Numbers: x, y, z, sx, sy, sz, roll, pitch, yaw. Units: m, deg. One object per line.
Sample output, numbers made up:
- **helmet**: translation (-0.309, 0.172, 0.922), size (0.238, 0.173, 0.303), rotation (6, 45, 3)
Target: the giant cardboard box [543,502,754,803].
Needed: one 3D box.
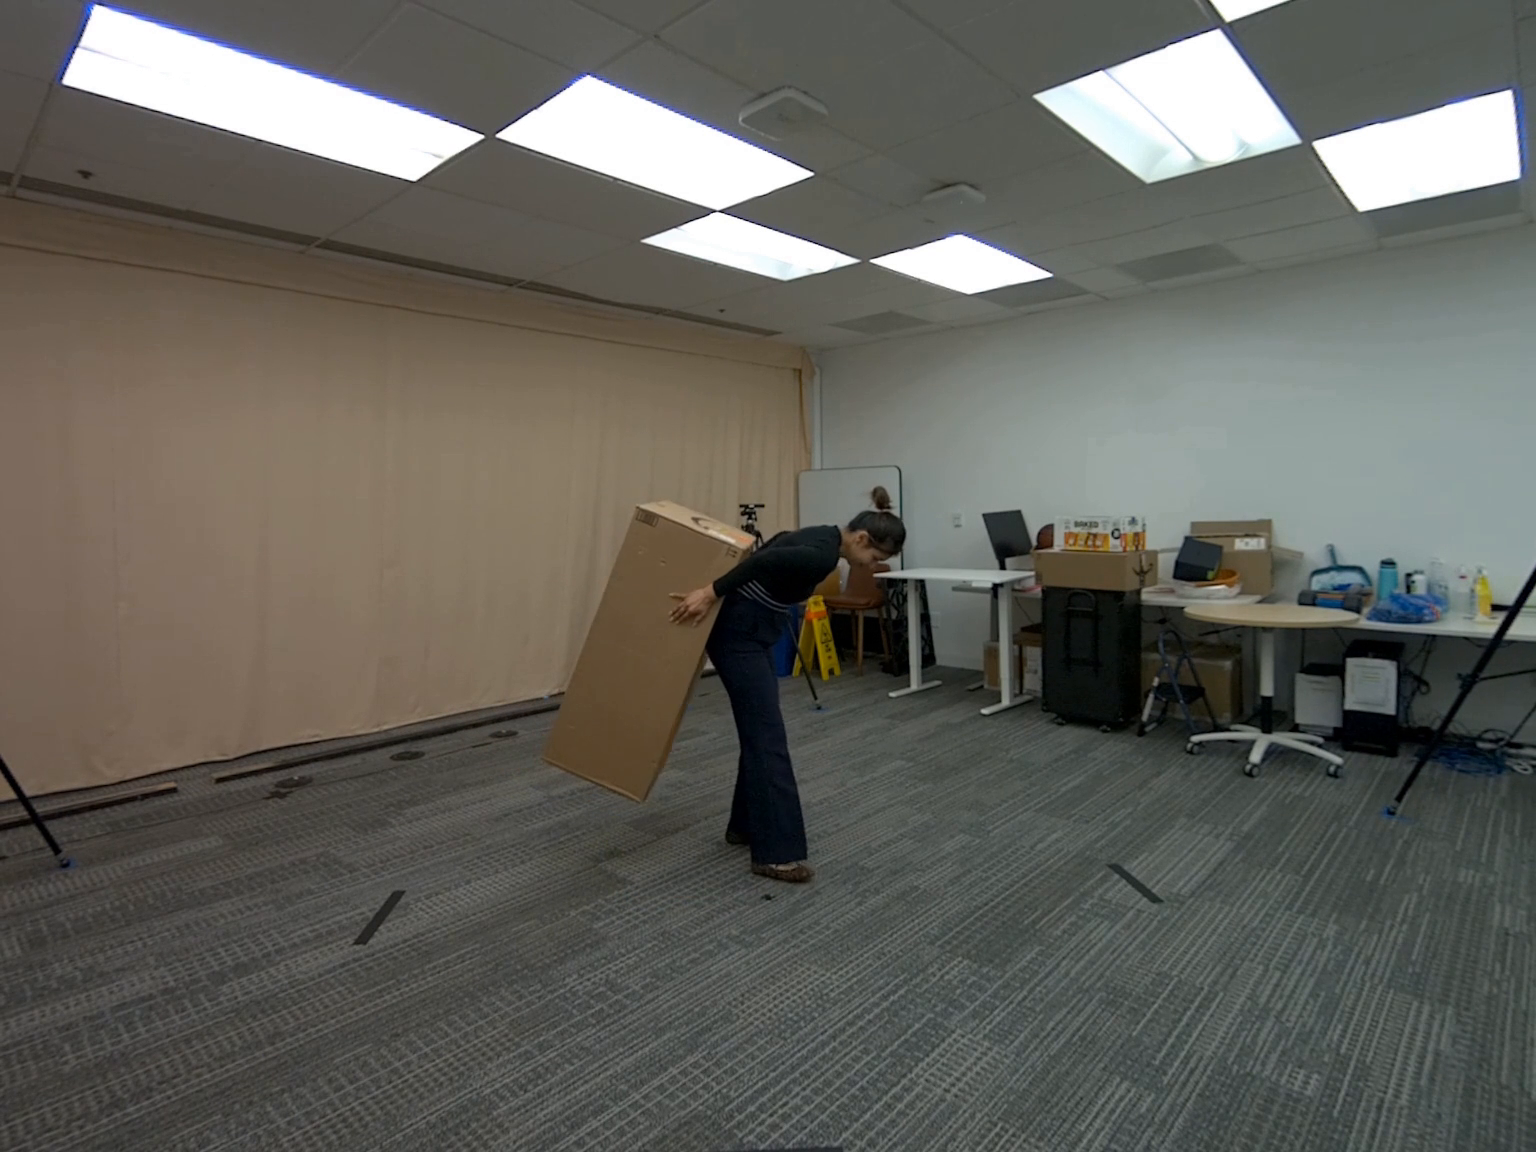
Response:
- **giant cardboard box**: translation (-0.452, 0.263, 3.331), size (0.428, 1.024, 0.576), rotation (22, 7, 2)
